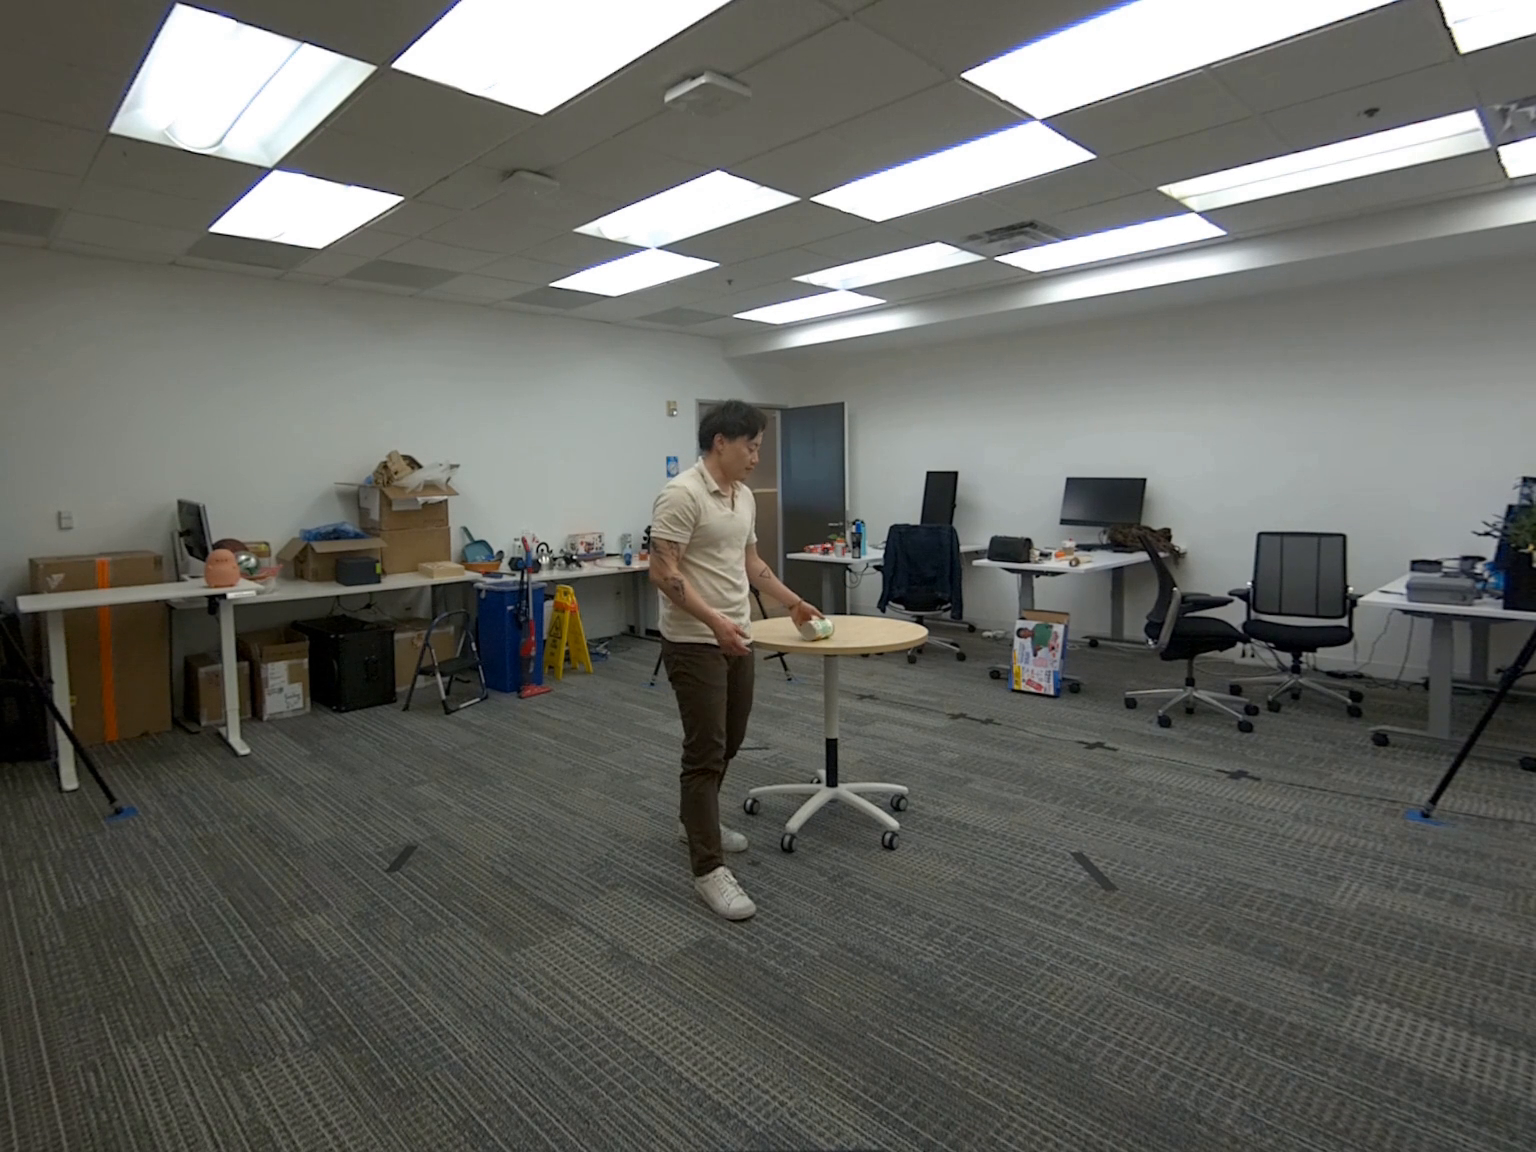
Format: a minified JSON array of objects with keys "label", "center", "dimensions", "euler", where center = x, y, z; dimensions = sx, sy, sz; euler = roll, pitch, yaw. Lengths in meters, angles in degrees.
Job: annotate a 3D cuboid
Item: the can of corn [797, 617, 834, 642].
[{"label":"can of corn","center":[0.191,0.201,3.226],"dimensions":[0.108,0.074,0.076],"euler":[-5,6,-40]}]
